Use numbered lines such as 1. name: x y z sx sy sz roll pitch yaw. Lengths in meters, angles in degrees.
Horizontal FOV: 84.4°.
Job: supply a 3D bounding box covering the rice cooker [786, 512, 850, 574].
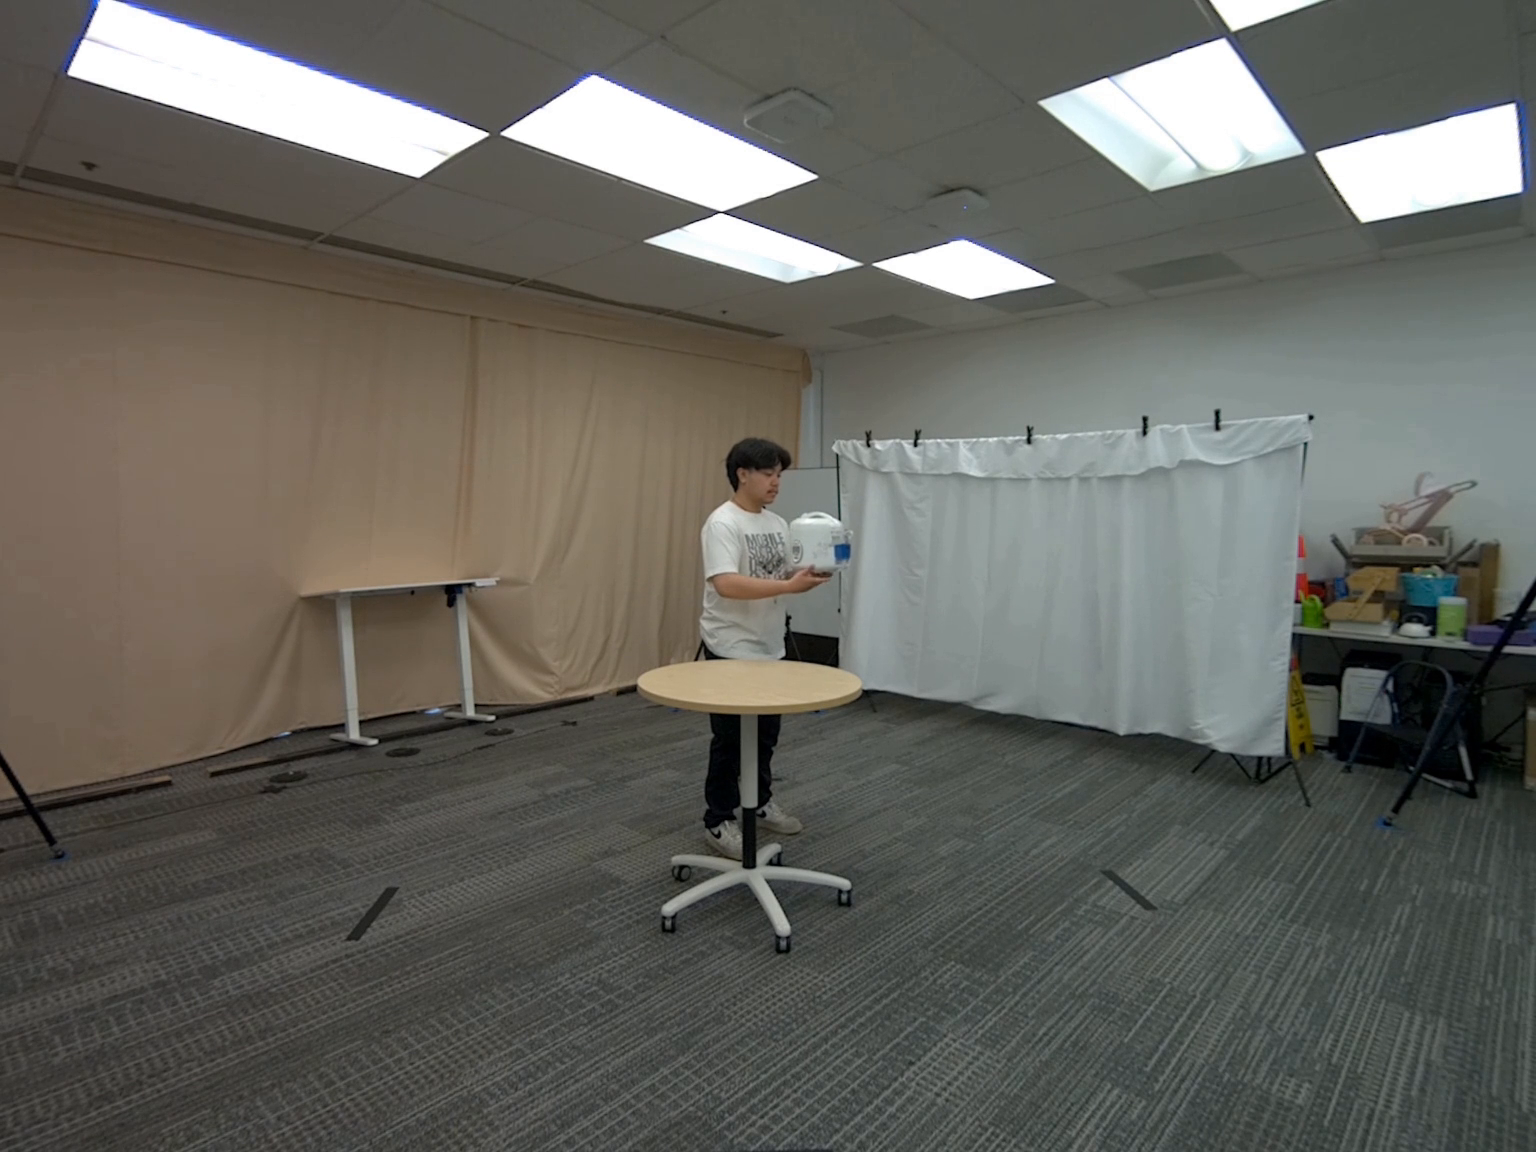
1. rice cooker: 0.189 -0.131 3.284 0.210 0.232 0.228 -1 2 -42
